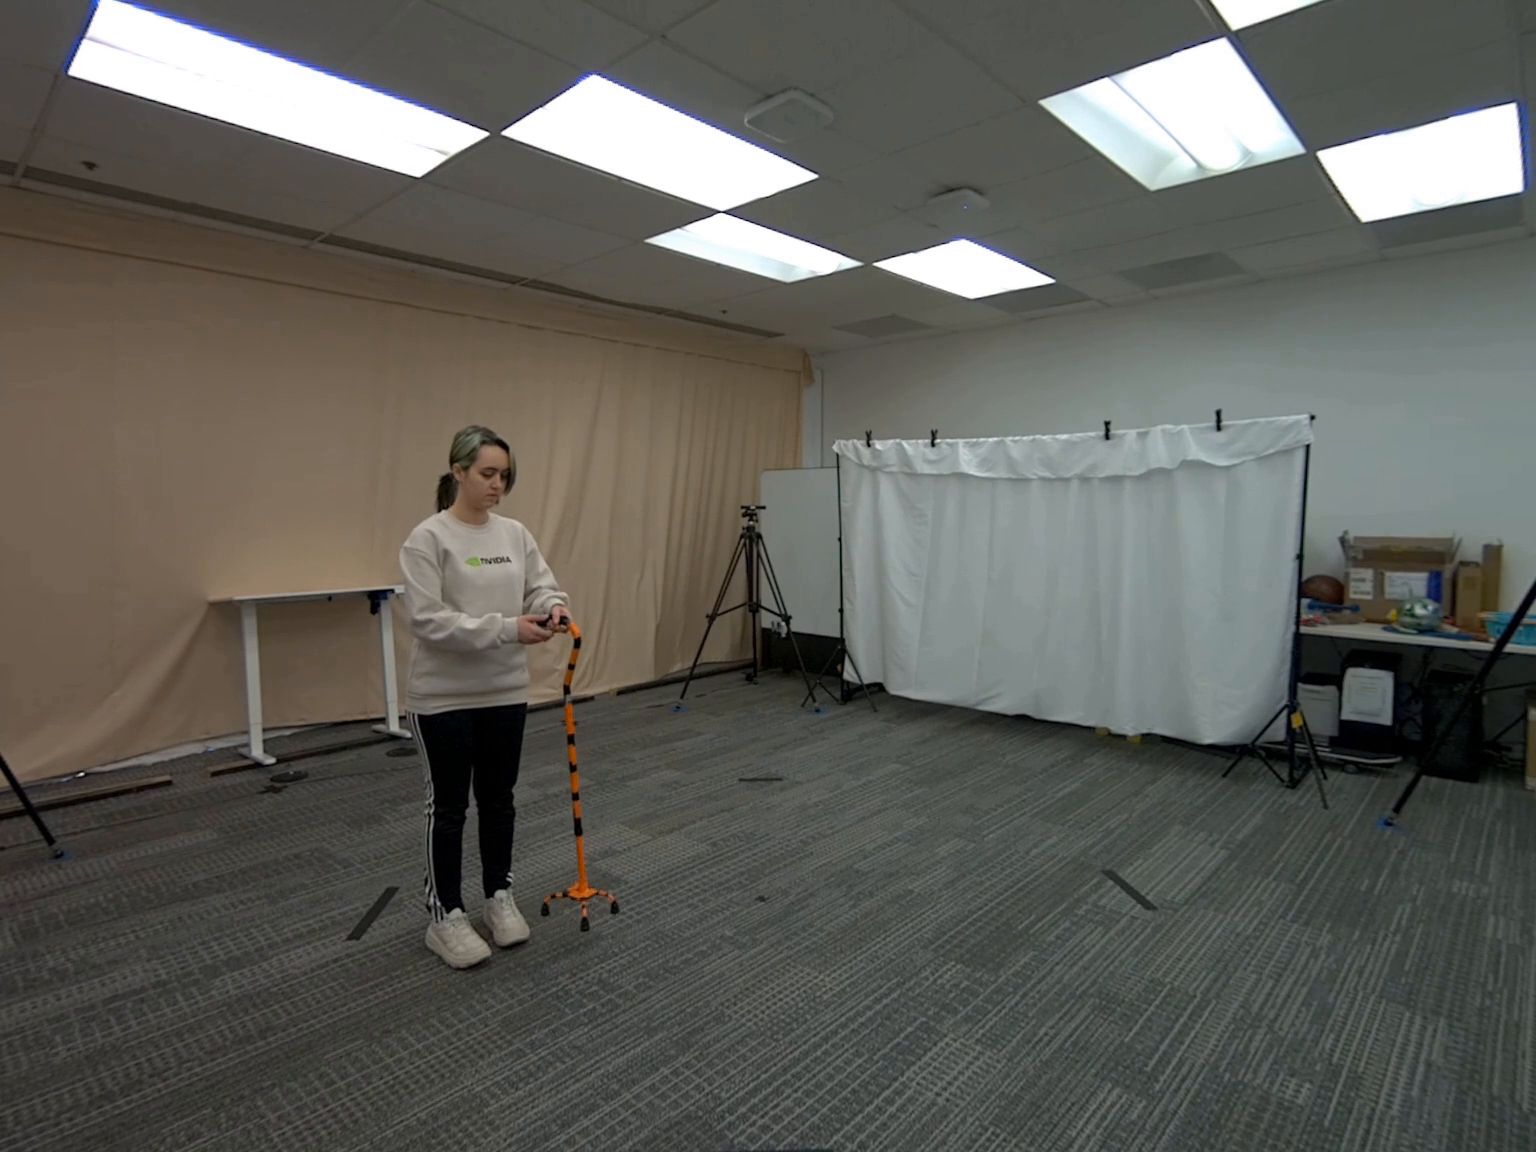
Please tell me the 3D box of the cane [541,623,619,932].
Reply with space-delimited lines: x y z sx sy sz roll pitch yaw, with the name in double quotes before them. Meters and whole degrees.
"cane" -0.598 0.598 2.528 0.213 0.905 0.147 1 5 36
